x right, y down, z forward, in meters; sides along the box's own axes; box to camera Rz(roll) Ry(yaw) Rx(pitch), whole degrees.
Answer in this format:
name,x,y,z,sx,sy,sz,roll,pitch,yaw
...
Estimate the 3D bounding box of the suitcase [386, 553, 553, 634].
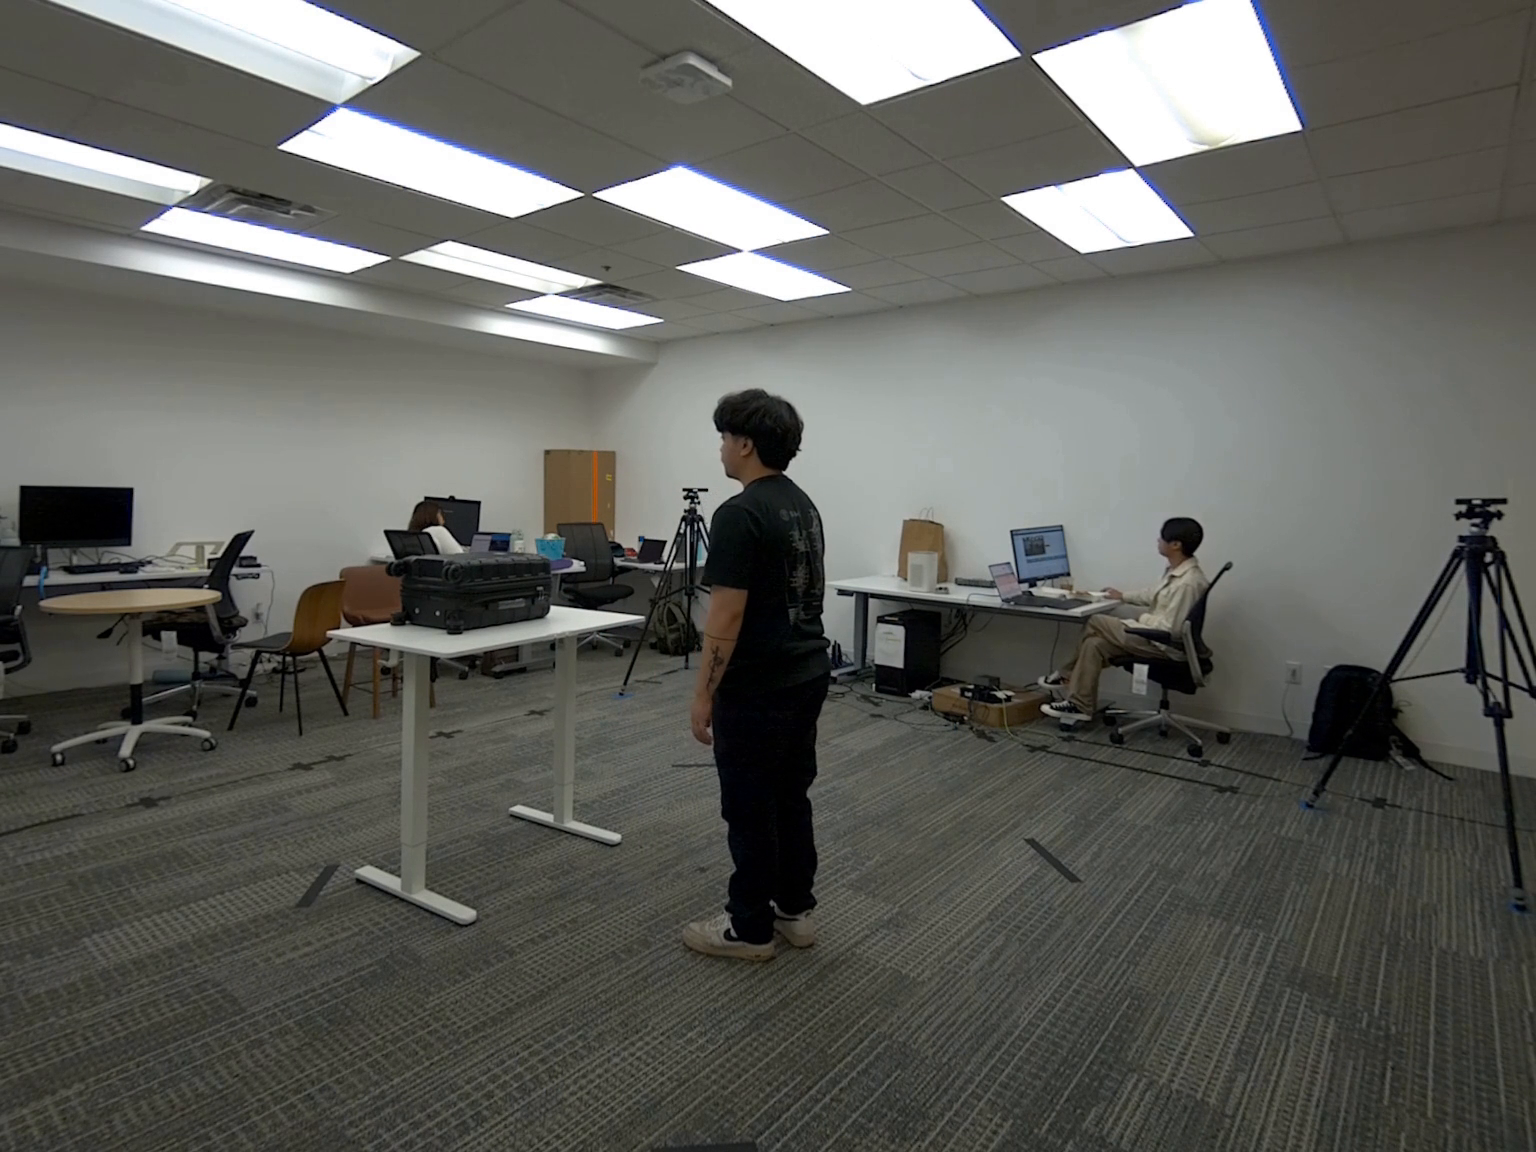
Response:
name,x,y,z,sx,sy,sz,roll,pitch,yaw
suitcase,-1.098,0.048,3.173,0.386,0.247,0.536,3,5,29
